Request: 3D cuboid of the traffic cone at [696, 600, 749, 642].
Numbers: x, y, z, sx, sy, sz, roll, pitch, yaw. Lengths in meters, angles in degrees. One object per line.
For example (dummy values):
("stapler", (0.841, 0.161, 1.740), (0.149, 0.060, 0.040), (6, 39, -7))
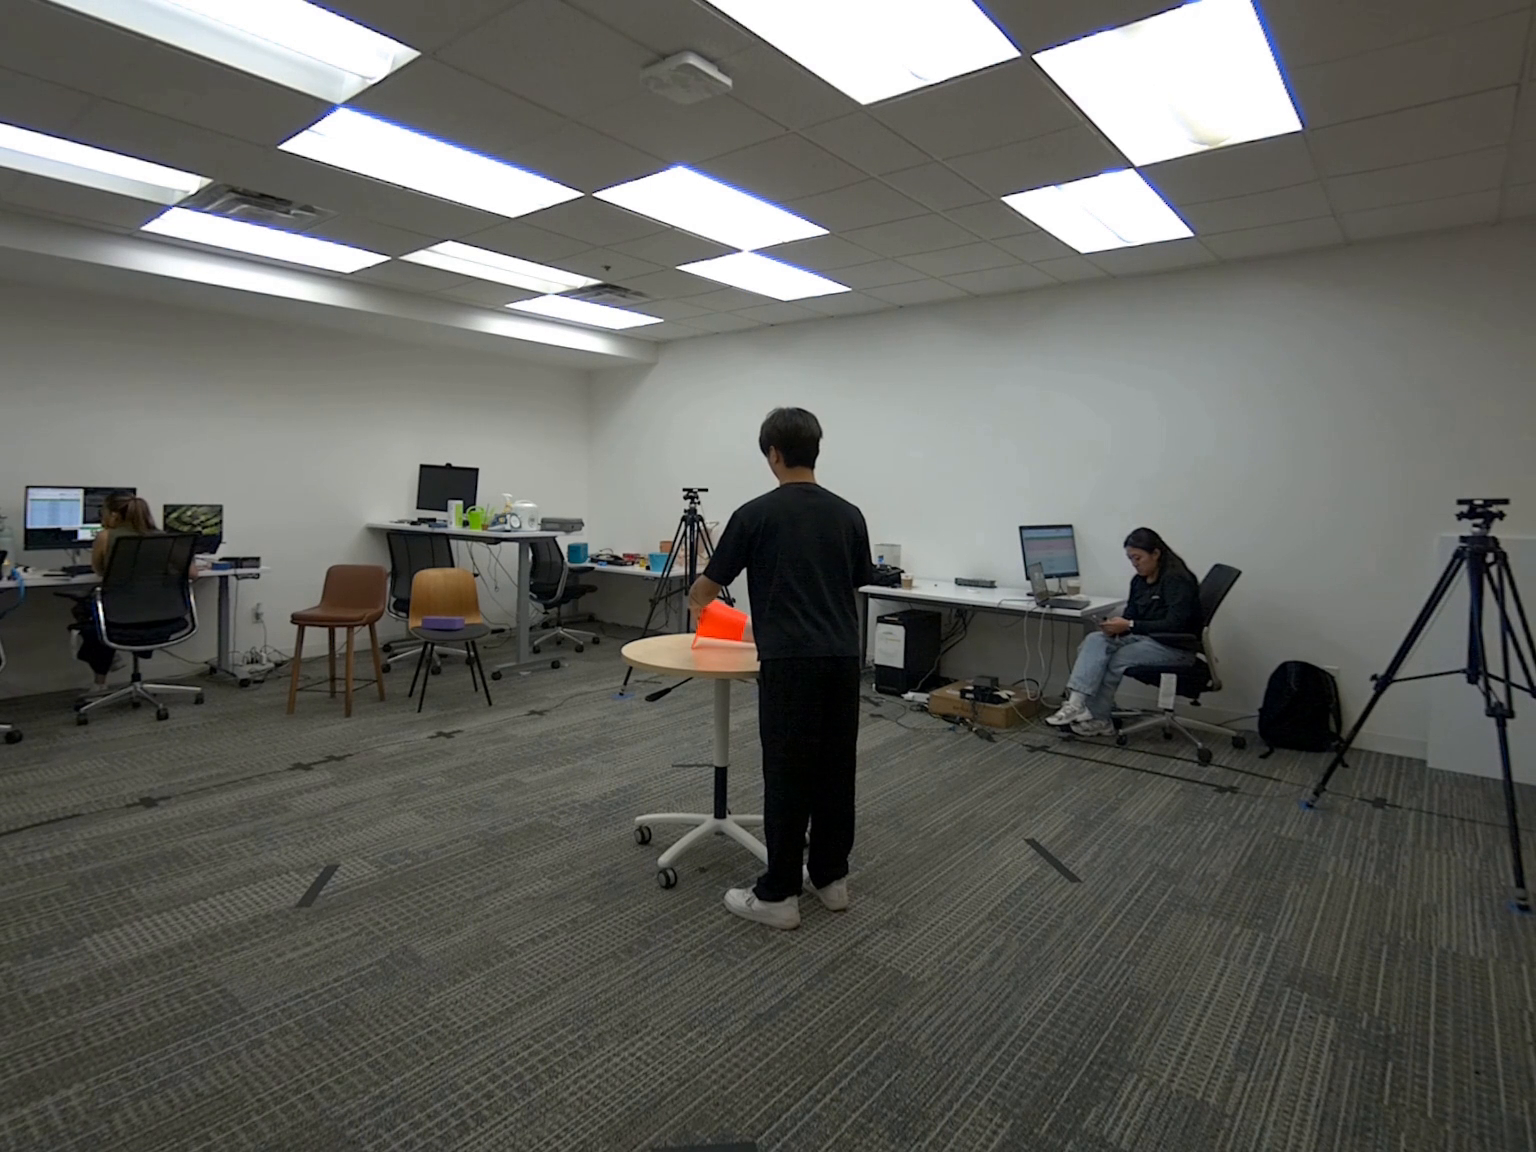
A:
("traffic cone", (-0.075, 0.208, 3.262), (0.387, 0.200, 0.206), (17, 23, 7))
